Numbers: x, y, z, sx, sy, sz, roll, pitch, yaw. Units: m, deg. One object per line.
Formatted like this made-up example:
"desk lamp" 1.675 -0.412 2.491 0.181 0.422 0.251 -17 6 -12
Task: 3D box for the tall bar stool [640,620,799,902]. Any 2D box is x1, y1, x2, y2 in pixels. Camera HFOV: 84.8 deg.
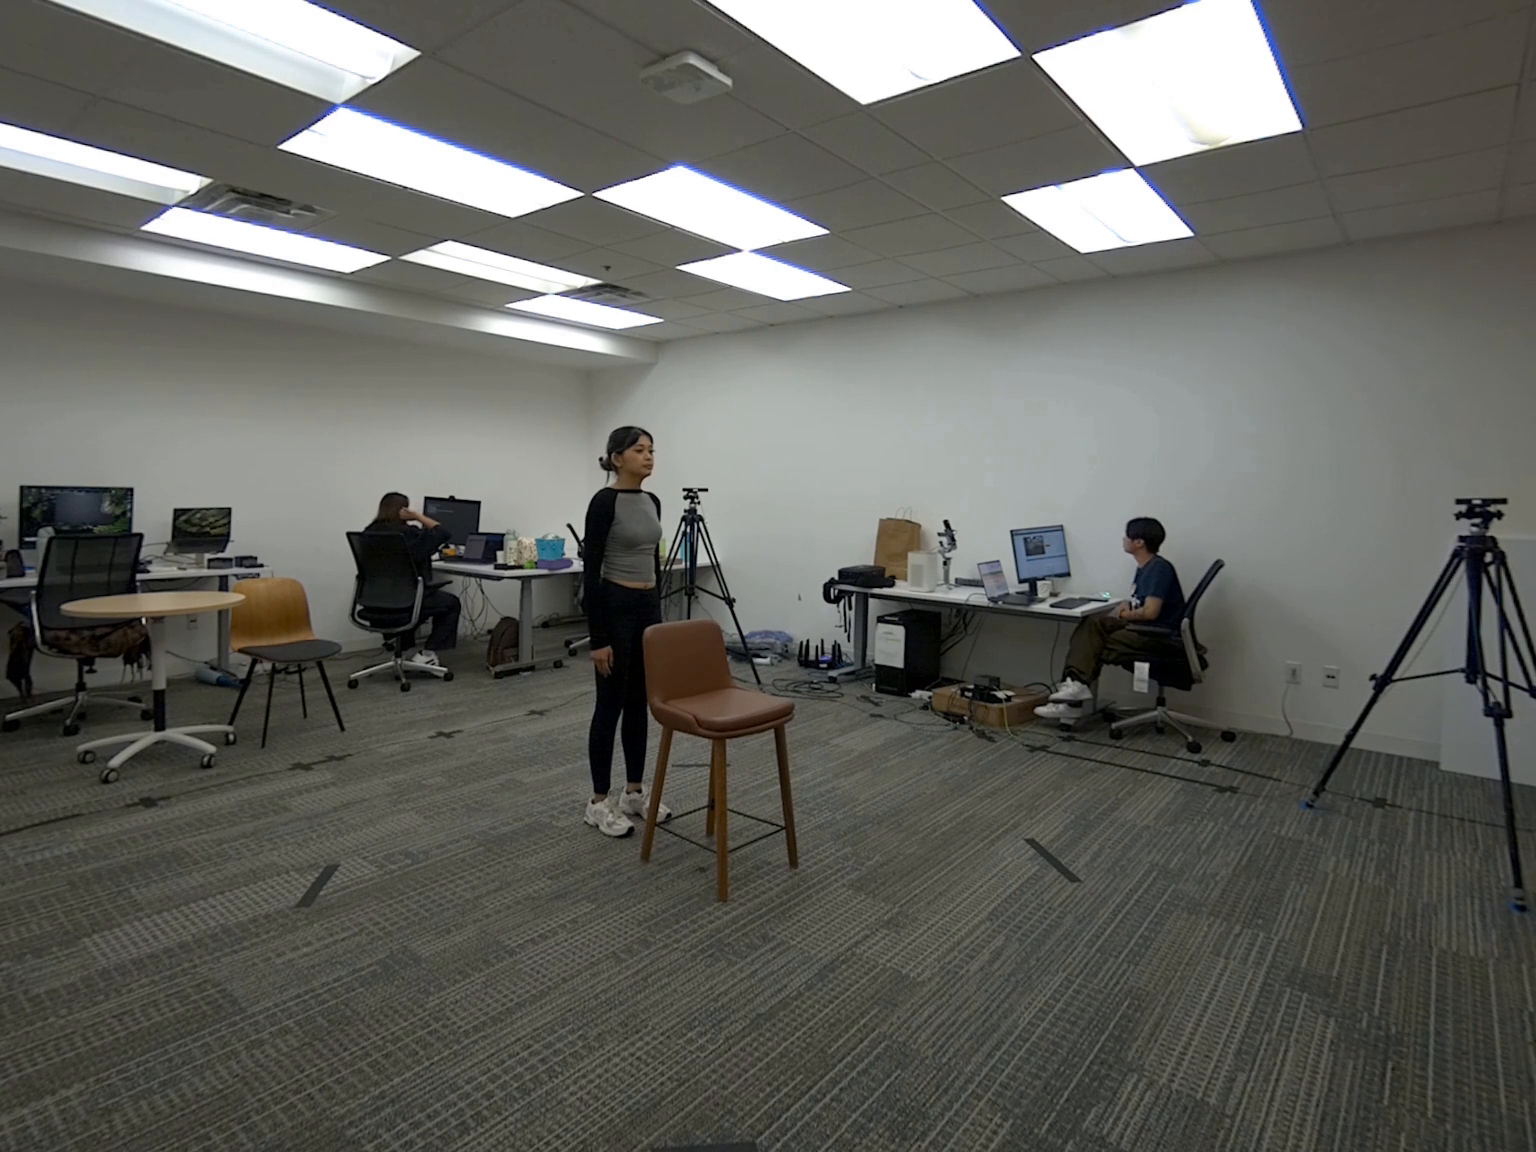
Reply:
"tall bar stool" -0.192 0.629 3.146 0.483 0.889 0.442 1 1 43
